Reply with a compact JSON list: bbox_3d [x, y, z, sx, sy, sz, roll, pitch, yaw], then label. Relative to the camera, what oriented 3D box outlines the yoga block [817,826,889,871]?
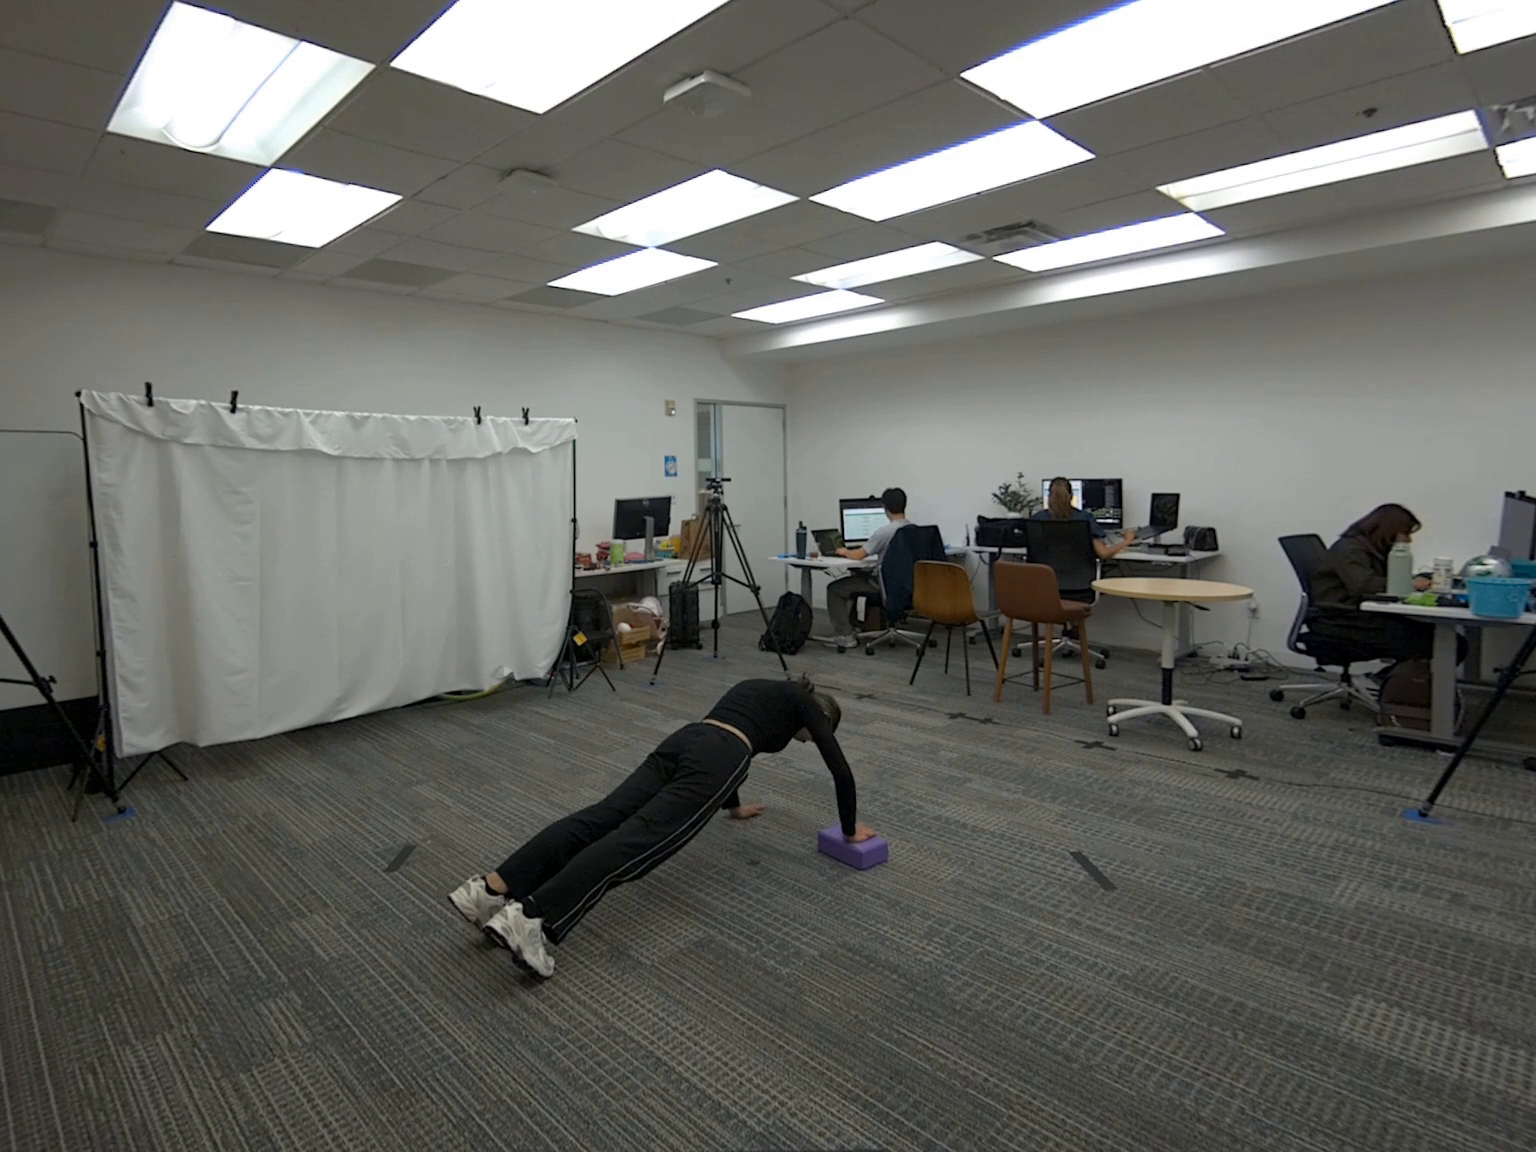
[{"bbox_3d":[0.311,0.995,3.151,0.145,0.076,0.236,-5,9,-38],"label":"yoga block"}]
